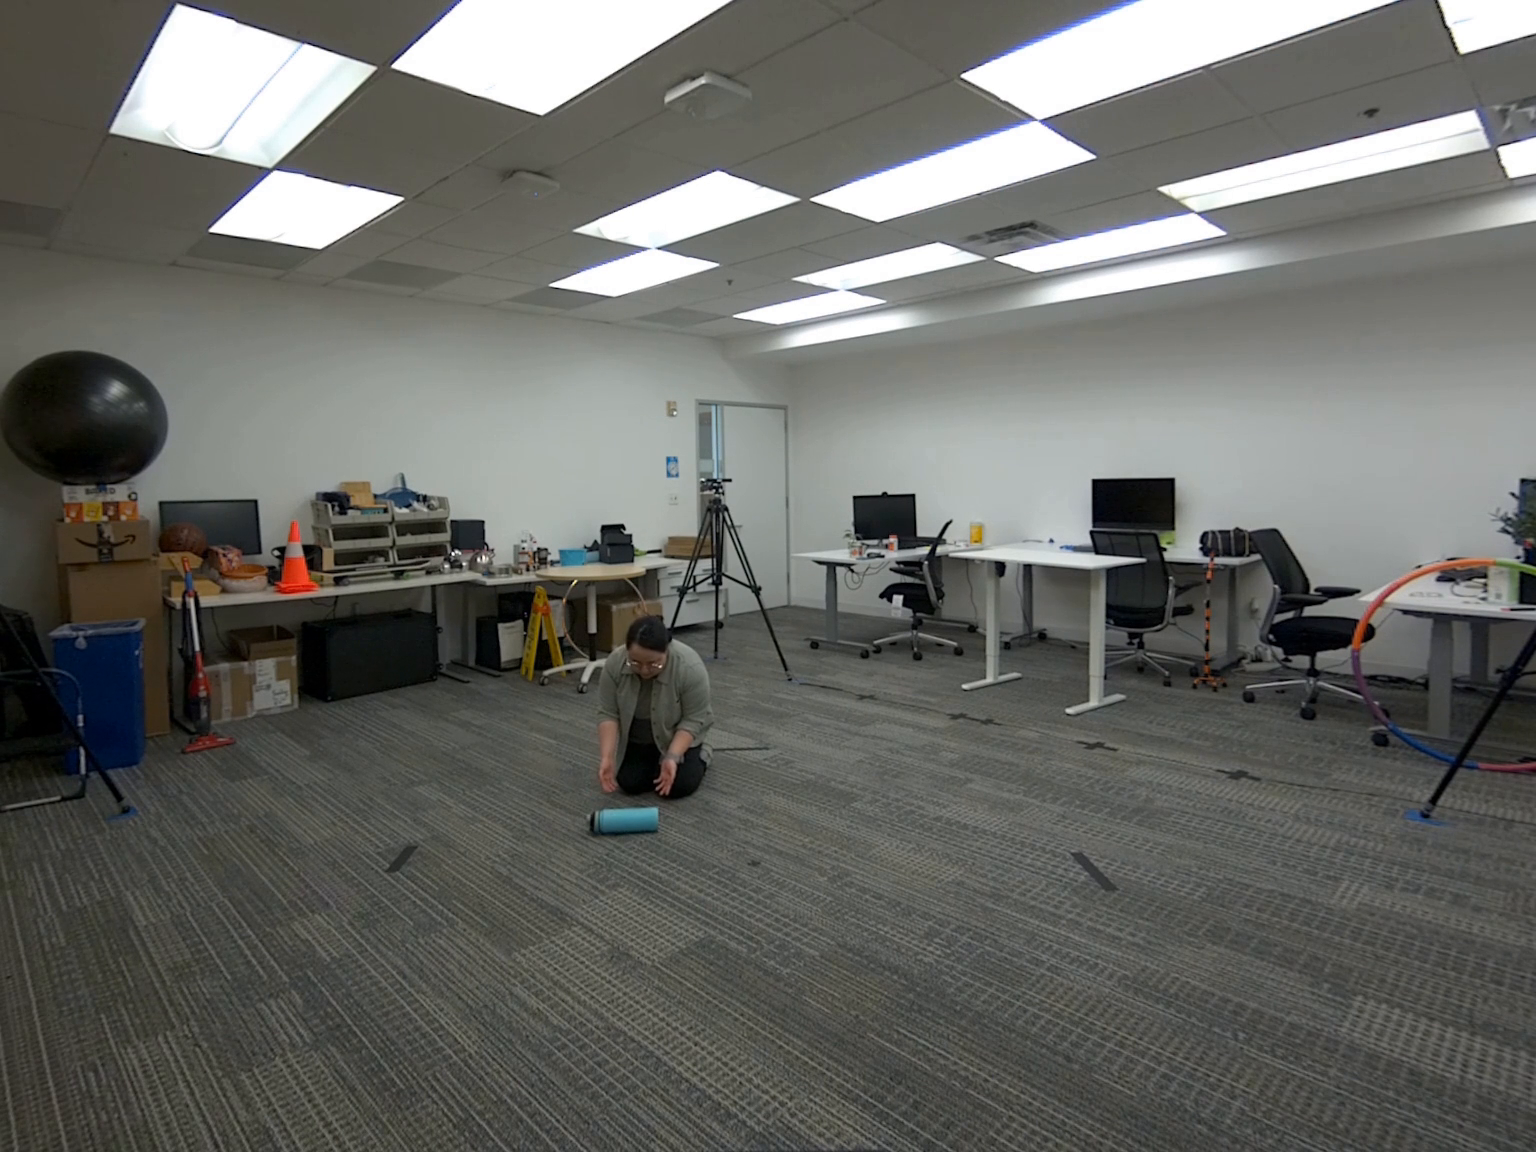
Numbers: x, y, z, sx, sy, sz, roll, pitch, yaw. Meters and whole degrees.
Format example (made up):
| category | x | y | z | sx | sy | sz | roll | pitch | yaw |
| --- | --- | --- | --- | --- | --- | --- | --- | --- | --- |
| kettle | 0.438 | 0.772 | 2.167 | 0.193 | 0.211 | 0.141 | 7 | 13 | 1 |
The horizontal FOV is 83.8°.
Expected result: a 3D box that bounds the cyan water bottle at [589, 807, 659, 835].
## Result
| category | x | y | z | sx | sy | sz | roll | pitch | yaw |
| --- | --- | --- | --- | --- | --- | --- | --- | --- | --- |
| cyan water bottle | -0.580 | 0.976 | 3.405 | 0.282 | 0.092 | 0.093 | -2 | 5 | -6 |
